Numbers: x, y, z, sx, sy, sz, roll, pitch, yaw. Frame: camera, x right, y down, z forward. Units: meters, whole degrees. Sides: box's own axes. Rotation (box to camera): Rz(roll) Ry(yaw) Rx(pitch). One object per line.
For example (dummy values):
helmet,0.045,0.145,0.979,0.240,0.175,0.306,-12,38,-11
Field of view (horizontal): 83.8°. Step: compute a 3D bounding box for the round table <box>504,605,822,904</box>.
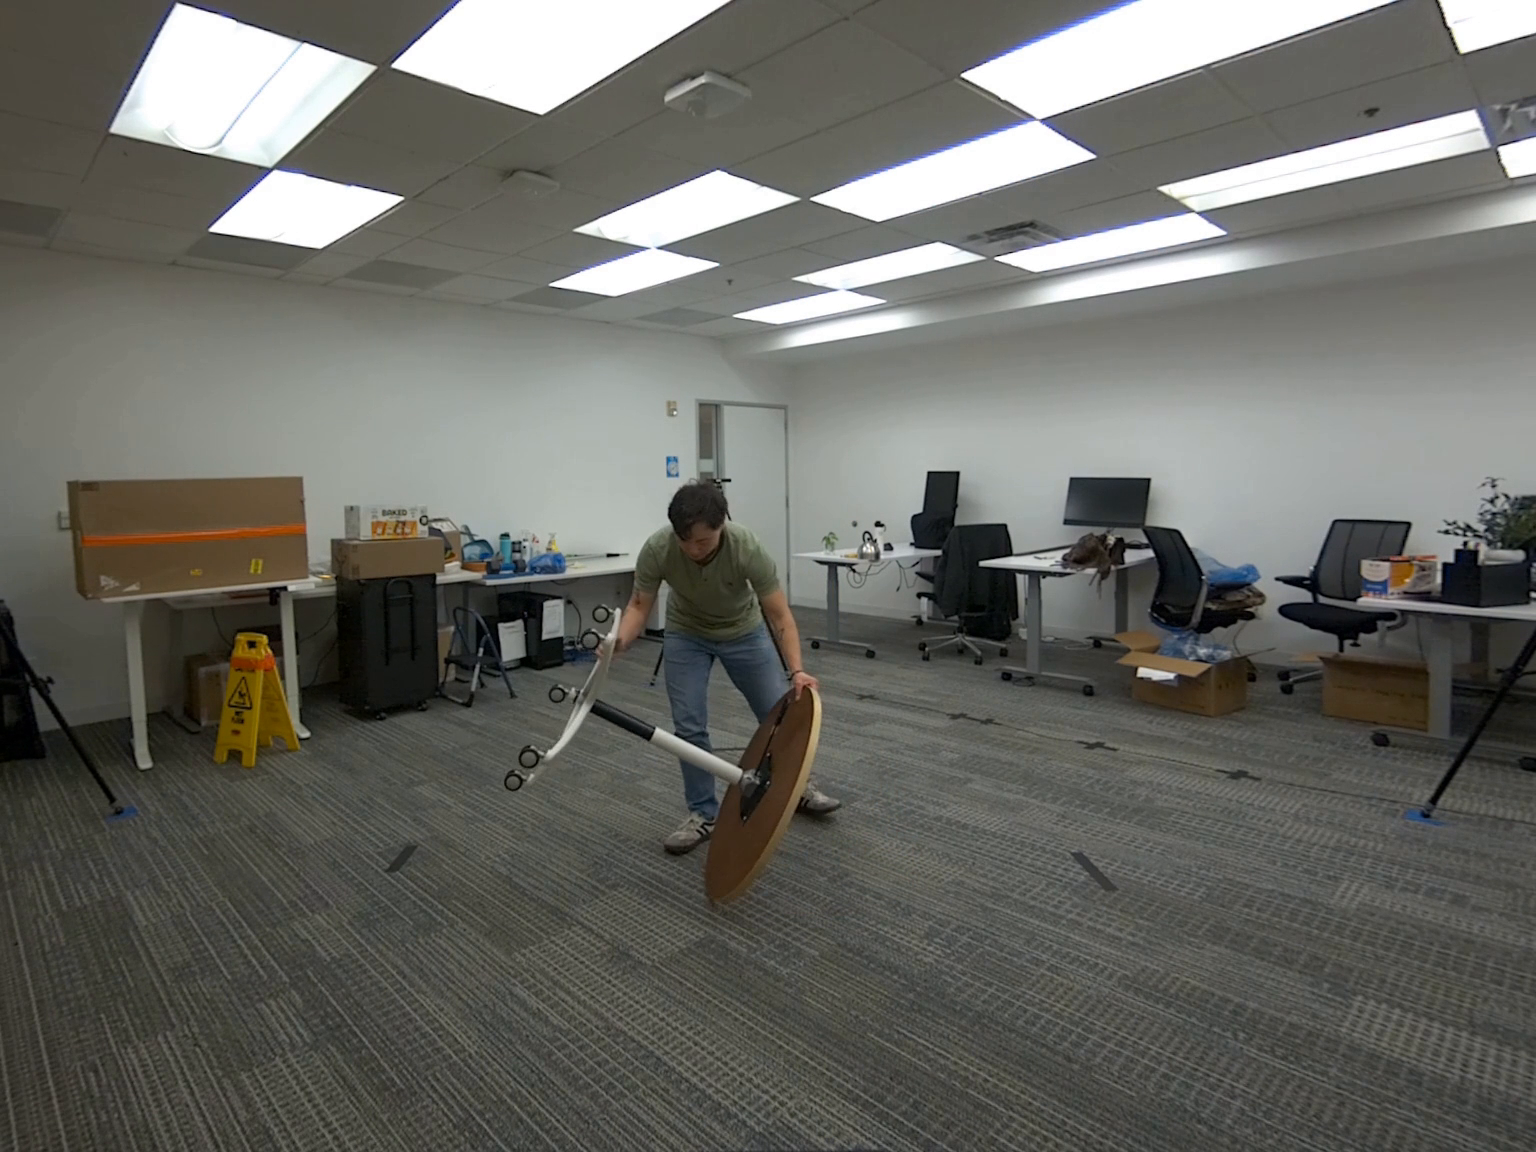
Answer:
round table,-0.358,0.557,2.869,0.786,0.764,0.772,28,1,-8
